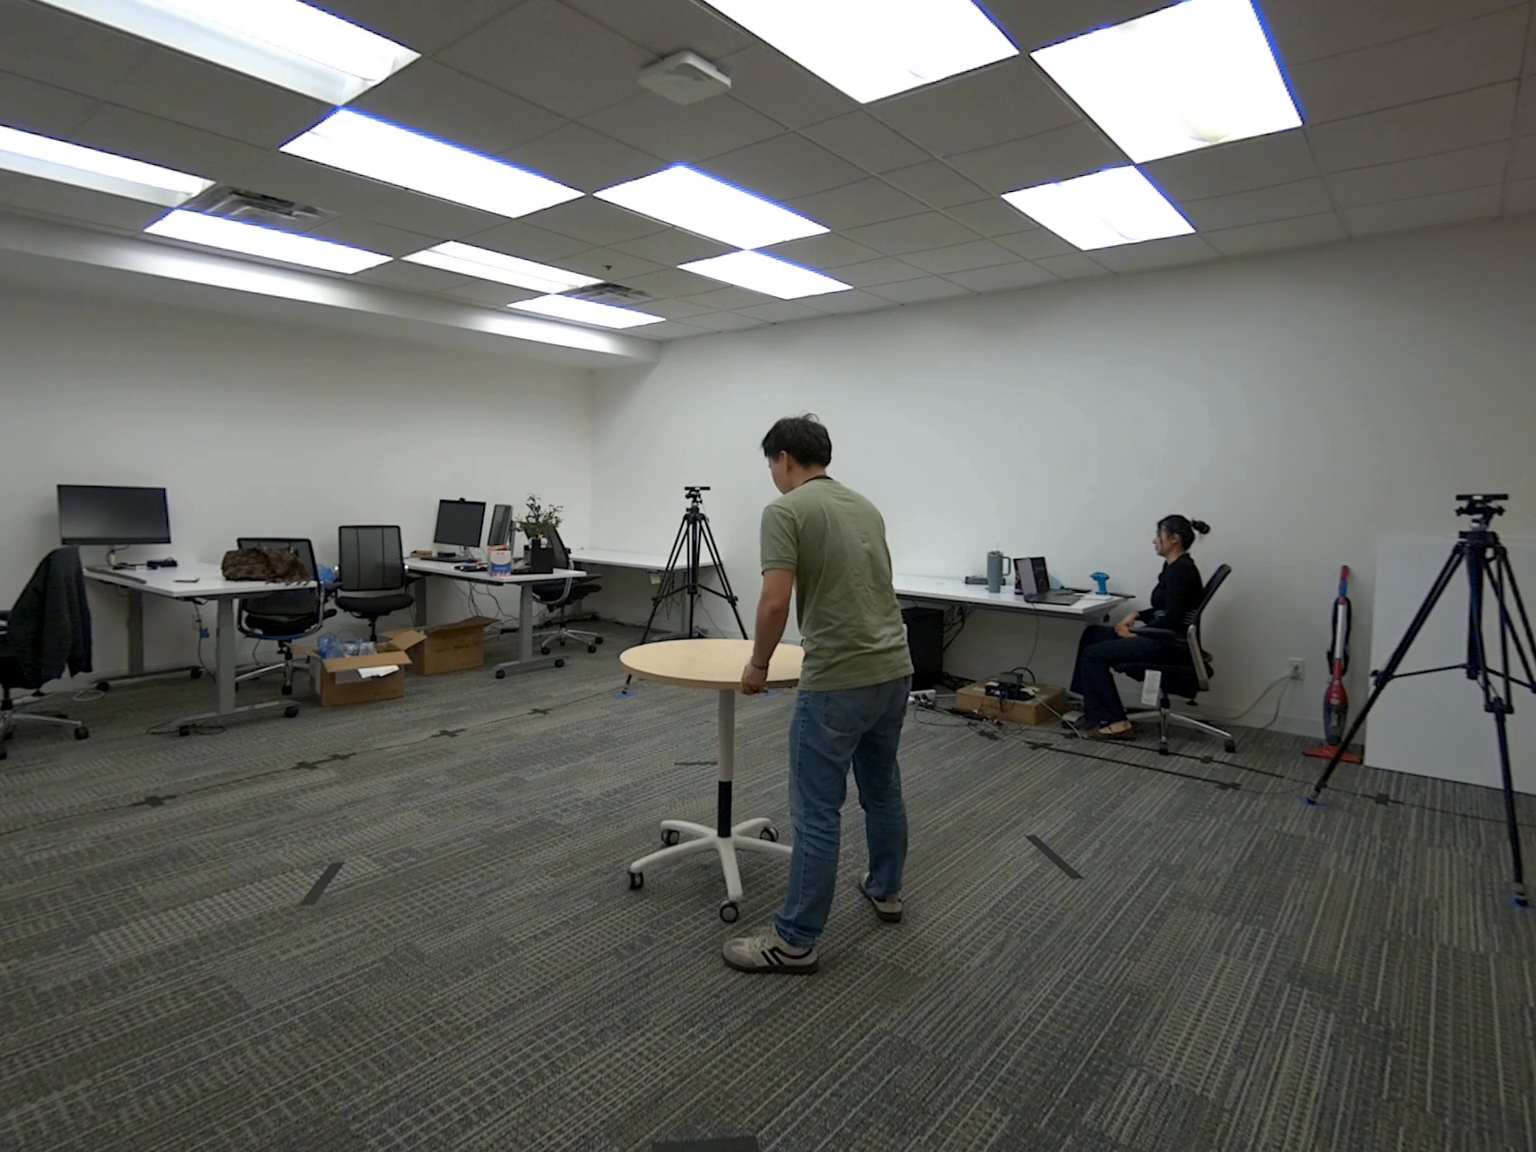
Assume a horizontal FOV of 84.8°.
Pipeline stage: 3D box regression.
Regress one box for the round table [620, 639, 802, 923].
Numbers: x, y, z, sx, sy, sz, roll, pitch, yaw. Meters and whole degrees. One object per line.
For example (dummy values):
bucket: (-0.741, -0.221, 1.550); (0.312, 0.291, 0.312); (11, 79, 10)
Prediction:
round table: (-0.157, 0.683, 3.046); (0.763, 0.791, 0.768); (1, 4, -2)
